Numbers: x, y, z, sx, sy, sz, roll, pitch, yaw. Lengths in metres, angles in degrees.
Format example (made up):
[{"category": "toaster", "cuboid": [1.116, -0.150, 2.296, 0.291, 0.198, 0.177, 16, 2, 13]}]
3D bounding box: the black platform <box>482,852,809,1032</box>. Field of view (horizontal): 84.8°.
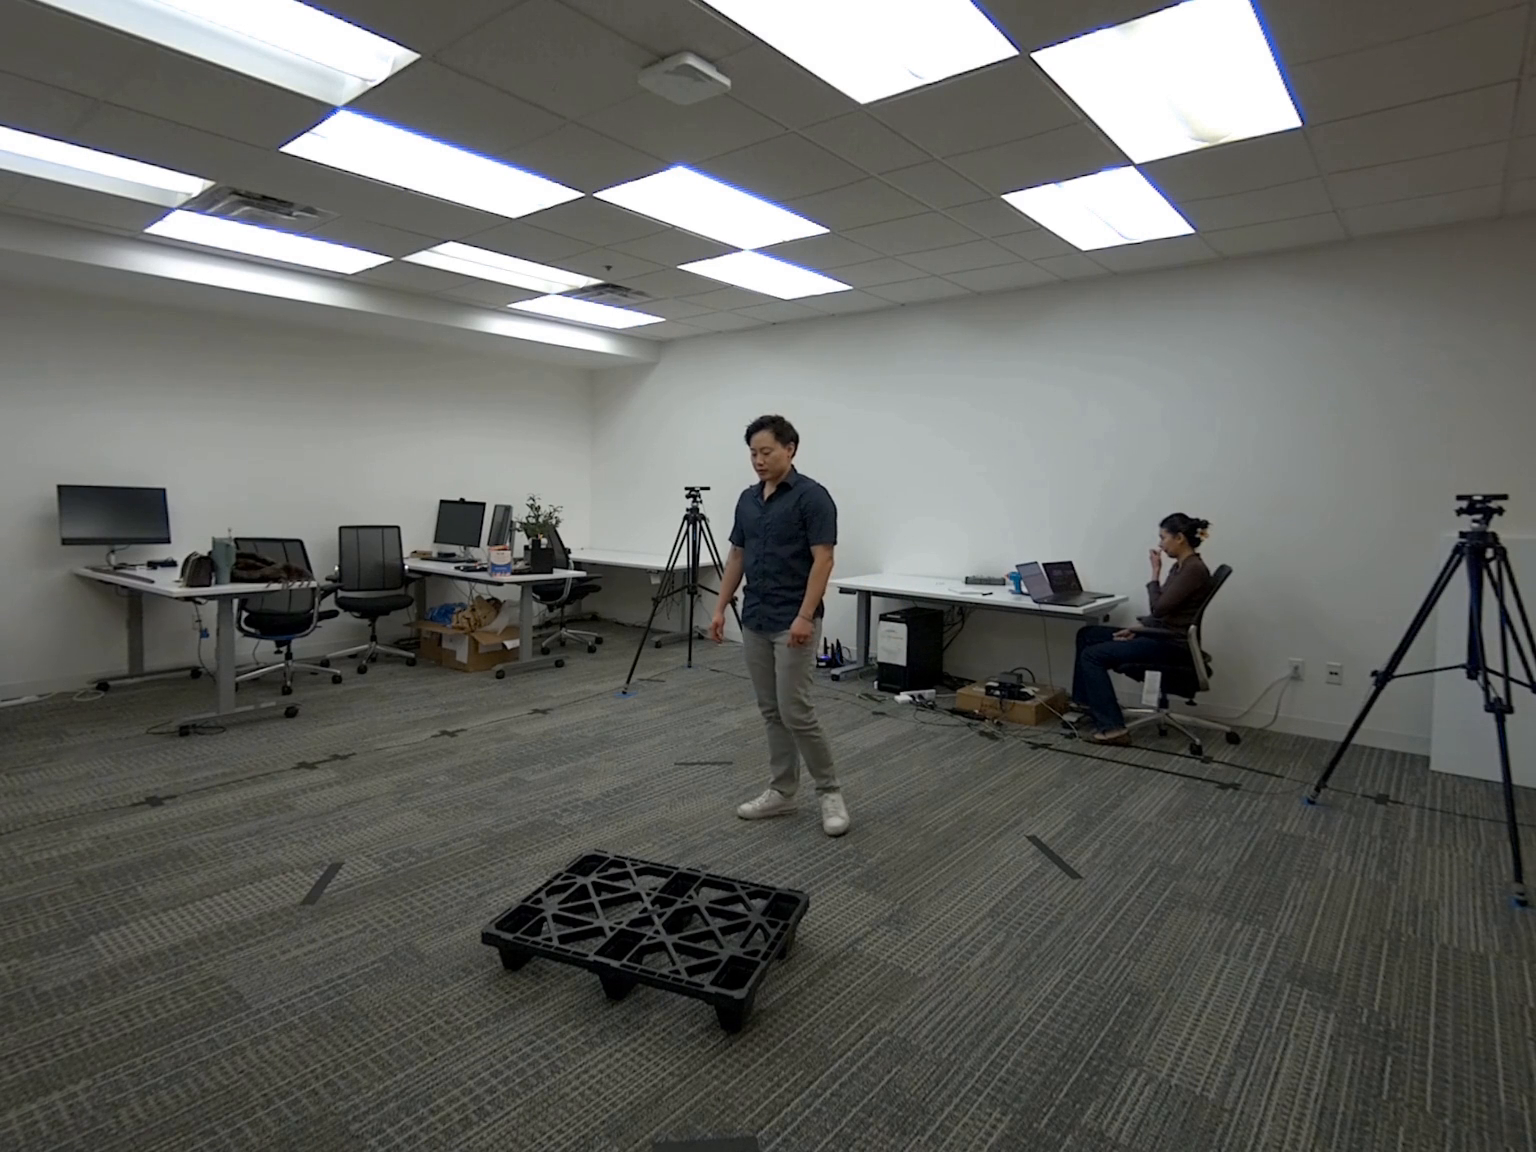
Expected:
[{"category": "black platform", "cuboid": [-0.353, 1.052, 2.527, 0.824, 0.143, 0.594, 3, 6, 21]}]
